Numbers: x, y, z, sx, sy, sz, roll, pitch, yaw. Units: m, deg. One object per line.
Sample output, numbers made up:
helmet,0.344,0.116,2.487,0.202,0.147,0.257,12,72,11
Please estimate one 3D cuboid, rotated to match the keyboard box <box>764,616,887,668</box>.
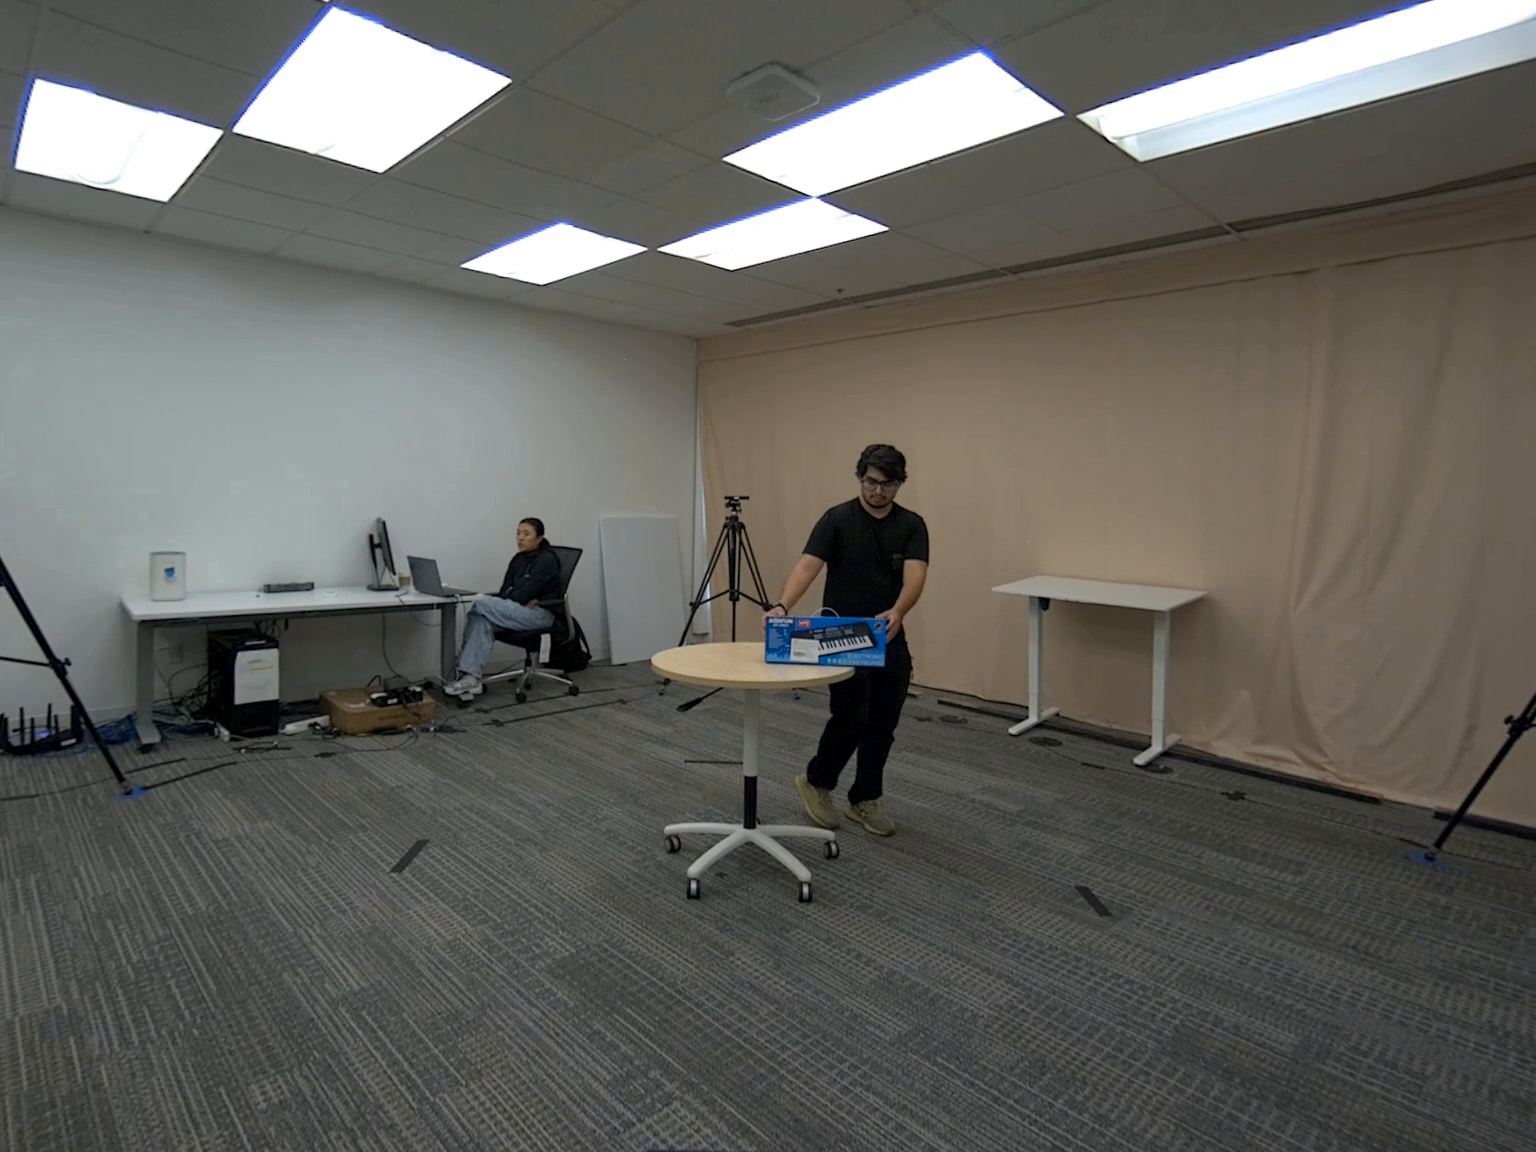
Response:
keyboard box,0.203,0.236,3.087,0.440,0.176,0.058,0,-2,8
